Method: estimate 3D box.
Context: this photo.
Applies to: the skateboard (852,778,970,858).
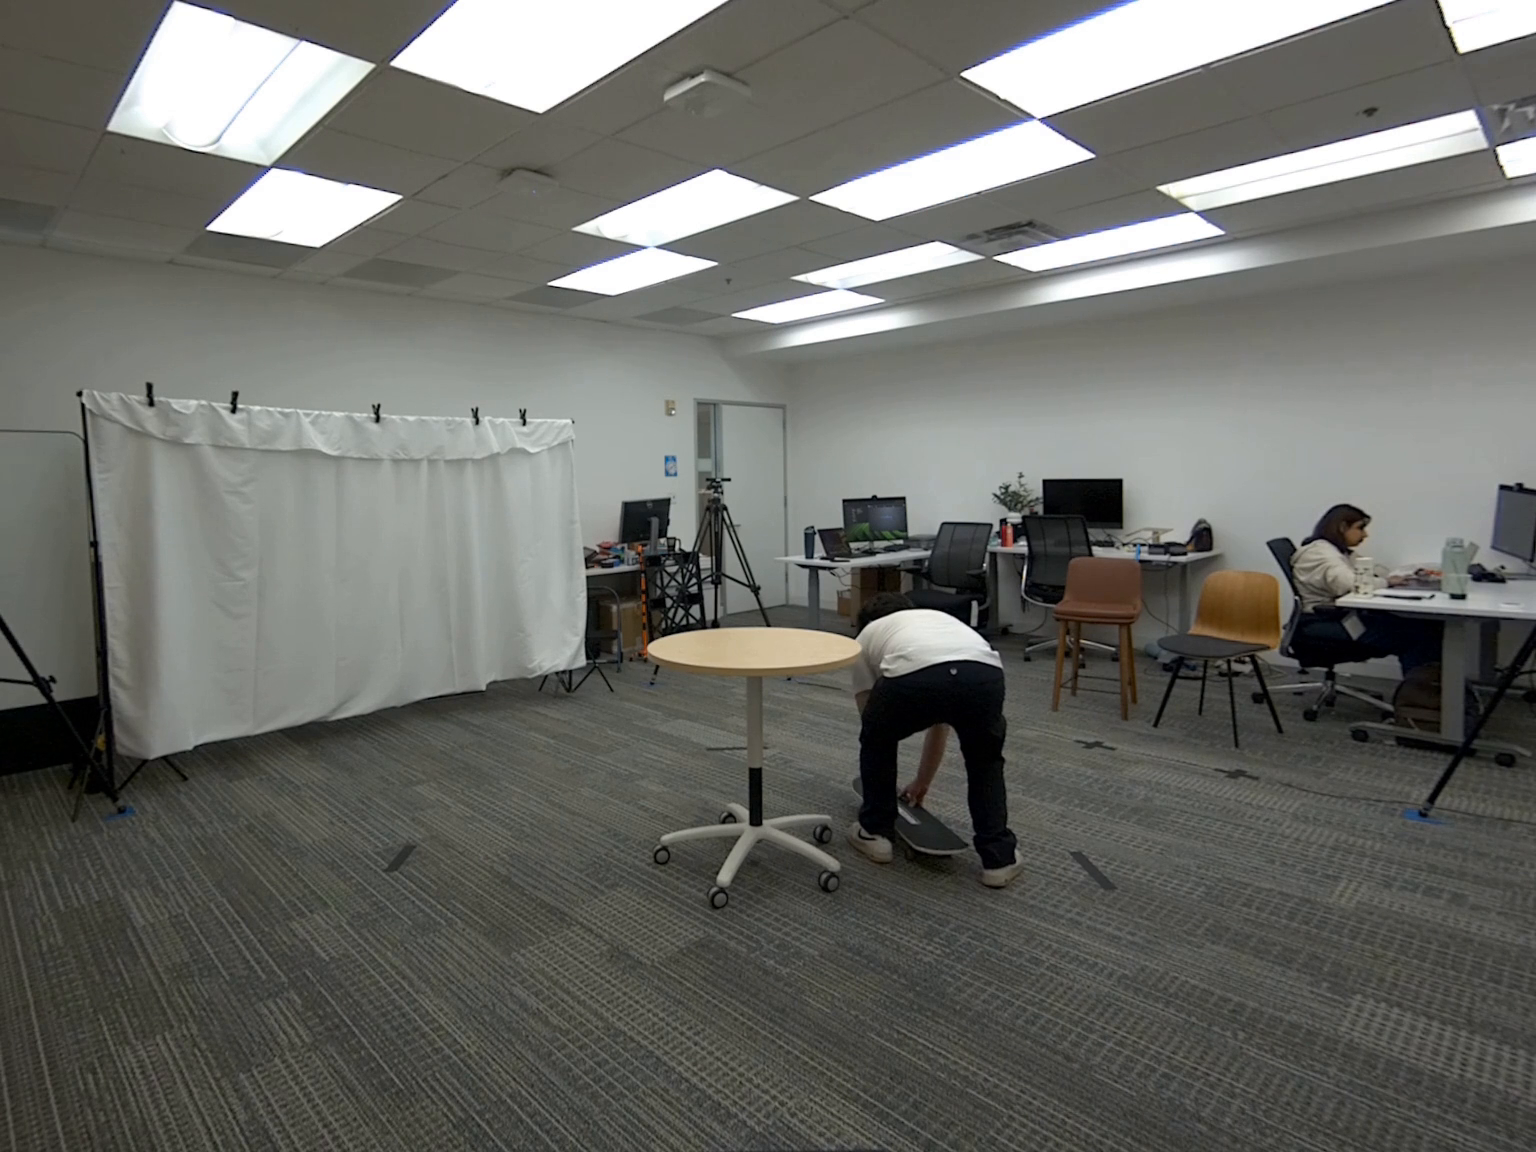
[{"bbox_3d":[0.532,0.953,3.315,0.191,0.110,0.799,-3,6,-15],"label":"skateboard"}]
